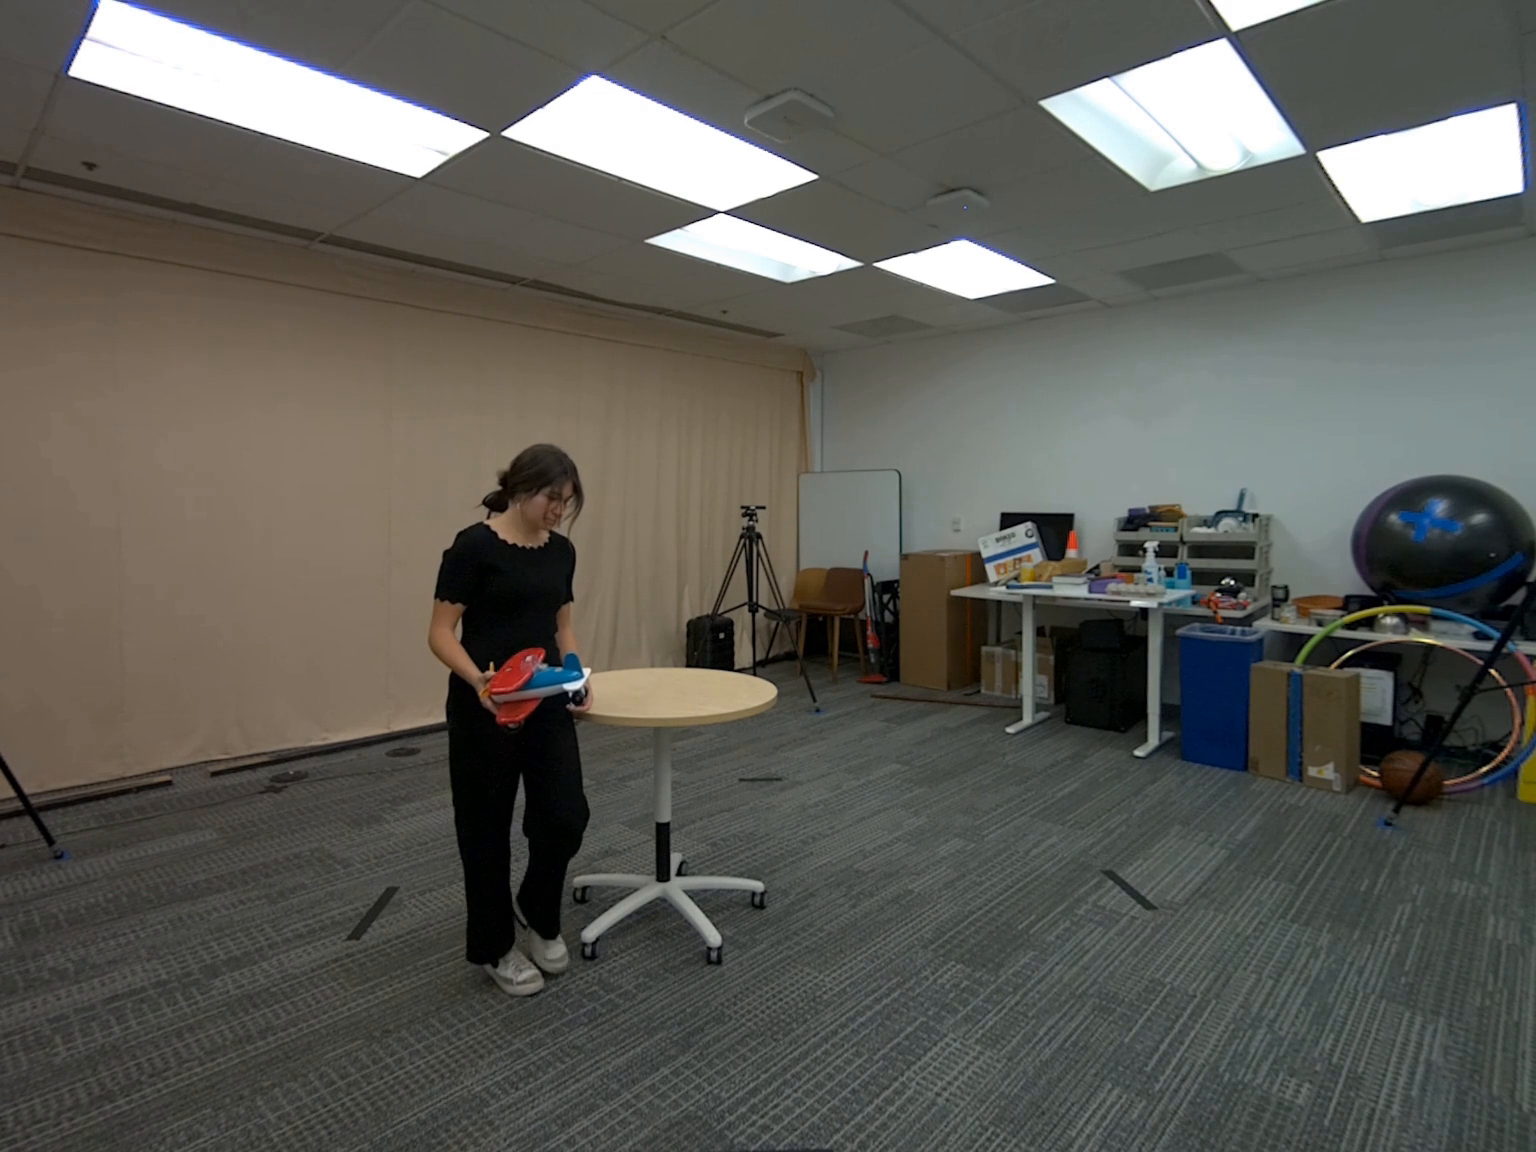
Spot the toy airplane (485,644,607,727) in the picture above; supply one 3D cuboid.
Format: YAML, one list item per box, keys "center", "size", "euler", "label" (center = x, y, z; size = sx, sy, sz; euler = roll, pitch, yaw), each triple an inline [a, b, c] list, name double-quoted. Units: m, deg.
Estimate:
- center: [-0.573, 0.277, 2.118]
  size: [0.257, 0.154, 0.257]
  euler: [-29, 16, -12]
  label: "toy airplane"
